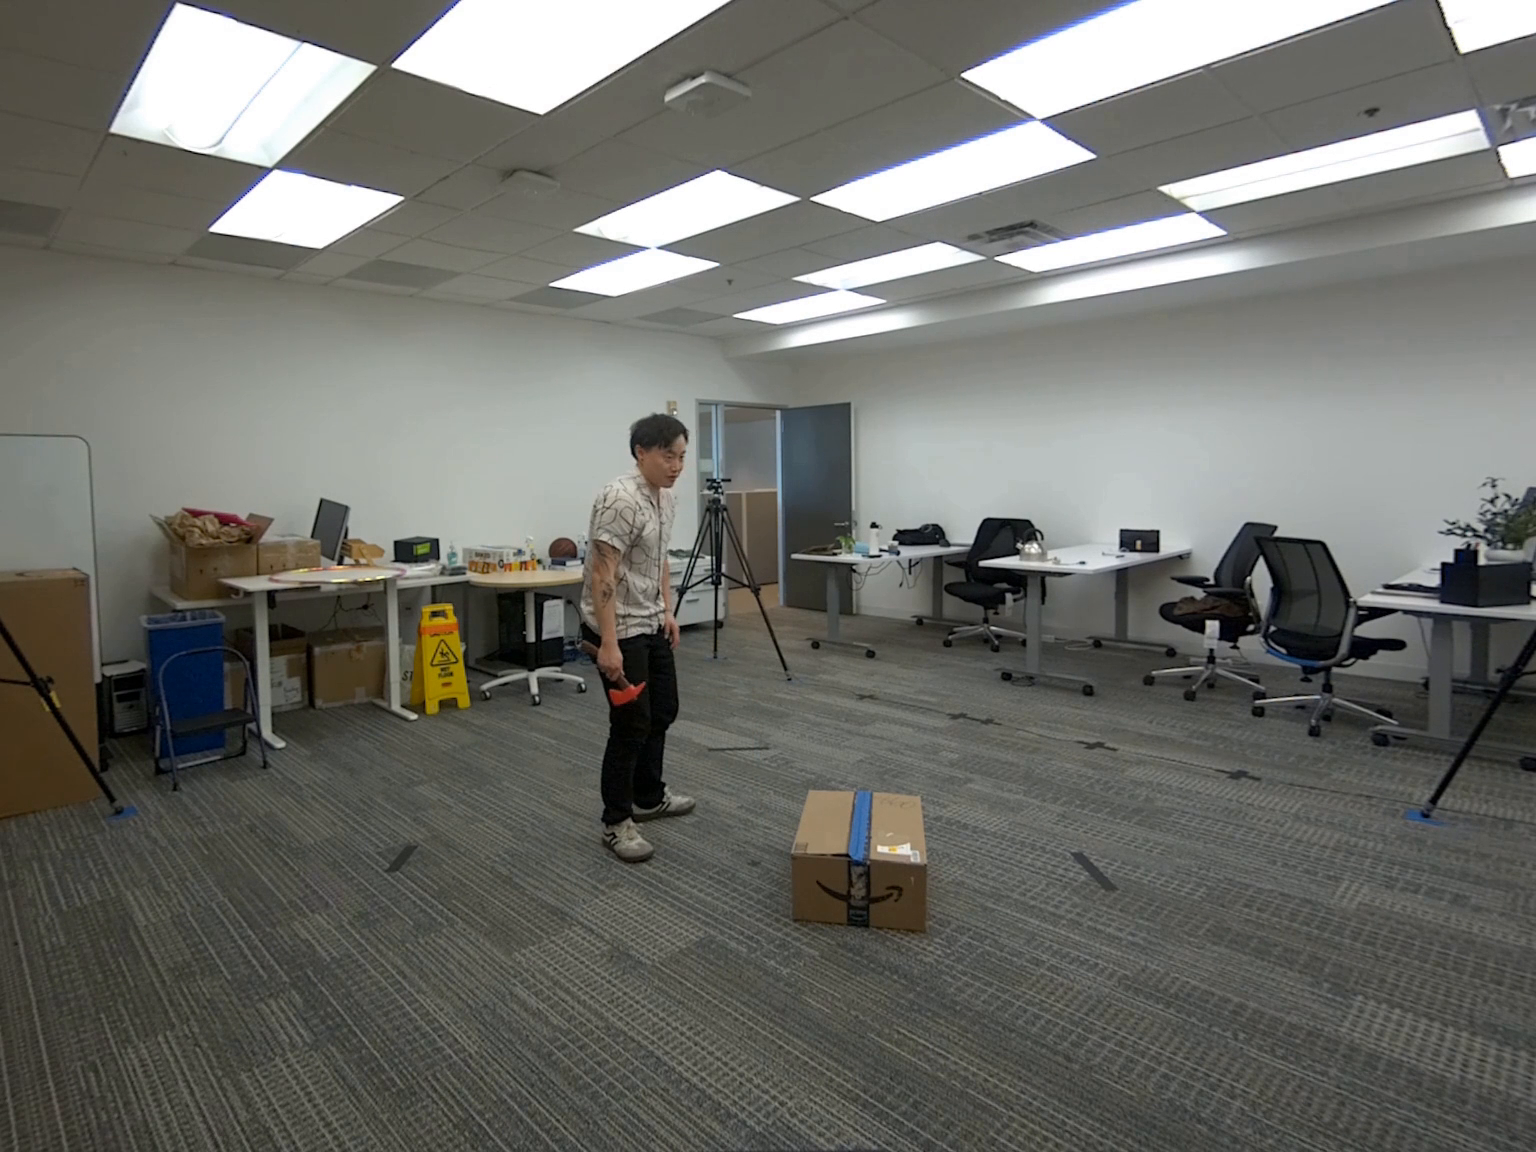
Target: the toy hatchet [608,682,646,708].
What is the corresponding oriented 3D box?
[{"bbox_3d":[-0.565,0.357,3.001,0.273,0.131,0.029,35,7,8],"label":"toy hatchet"}]
